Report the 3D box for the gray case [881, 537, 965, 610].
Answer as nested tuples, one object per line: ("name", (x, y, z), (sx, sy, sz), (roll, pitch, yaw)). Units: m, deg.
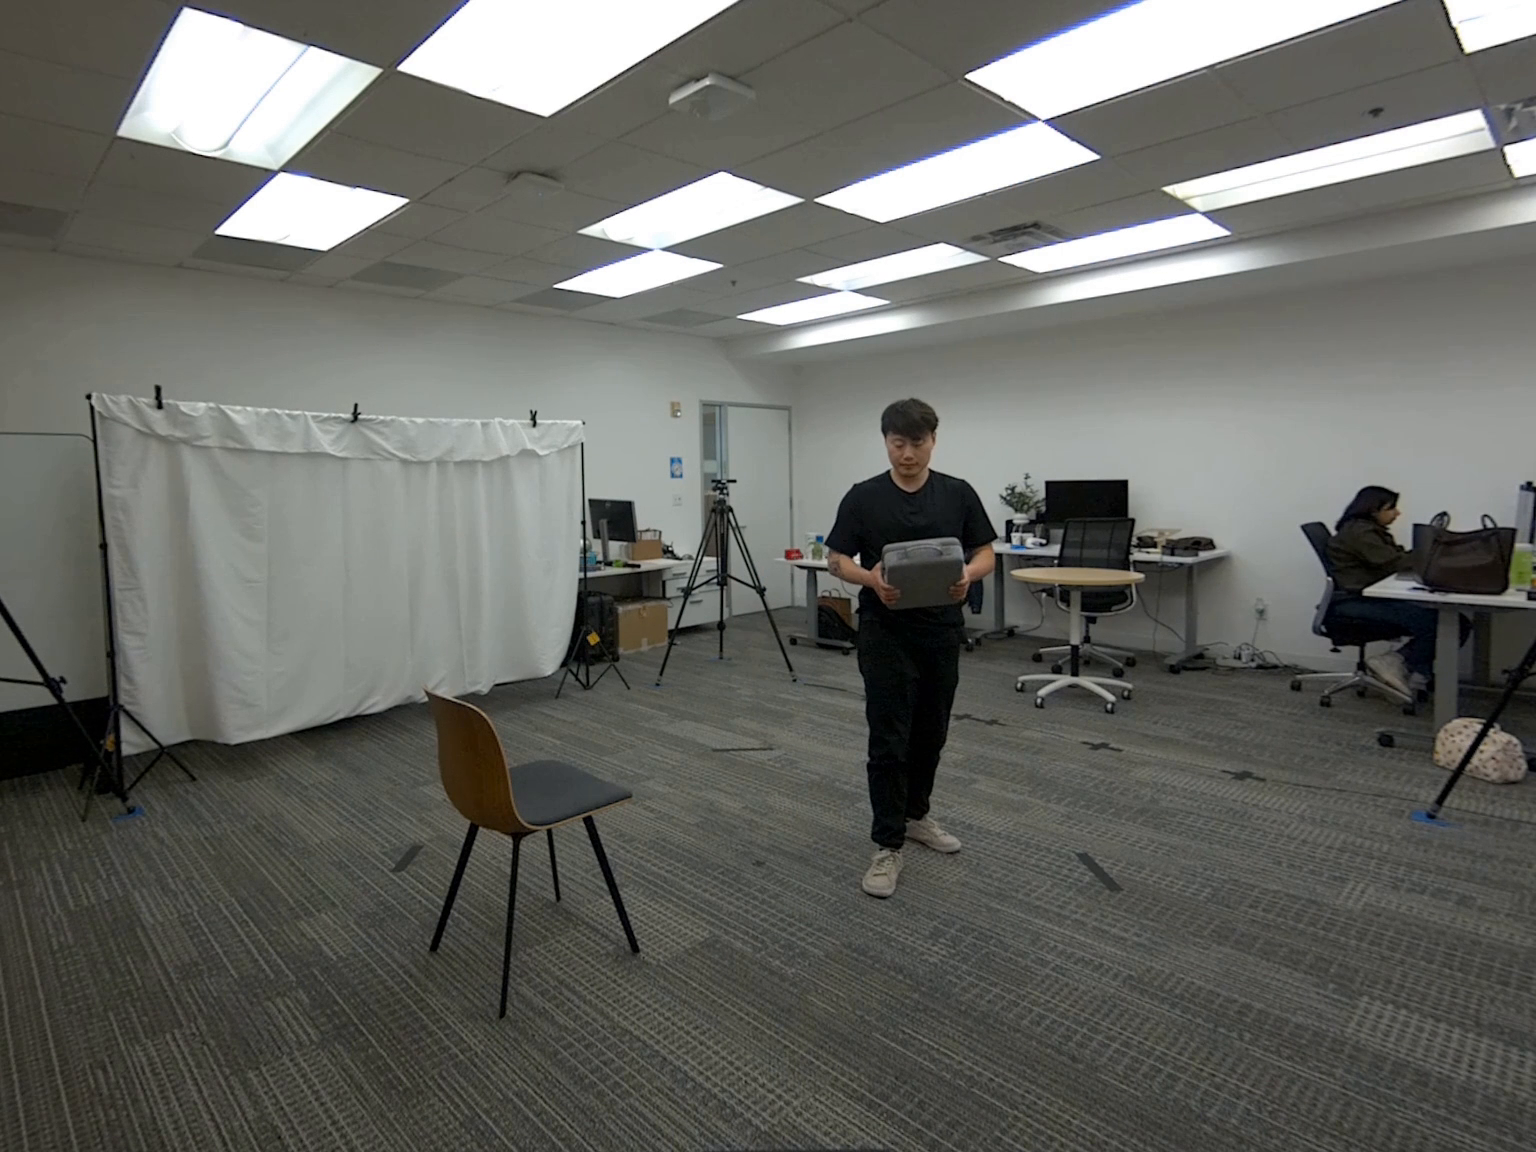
("gray case", (0.514, -0.005, 2.811), (0.259, 0.107, 0.252), (-7, -41, 8))
